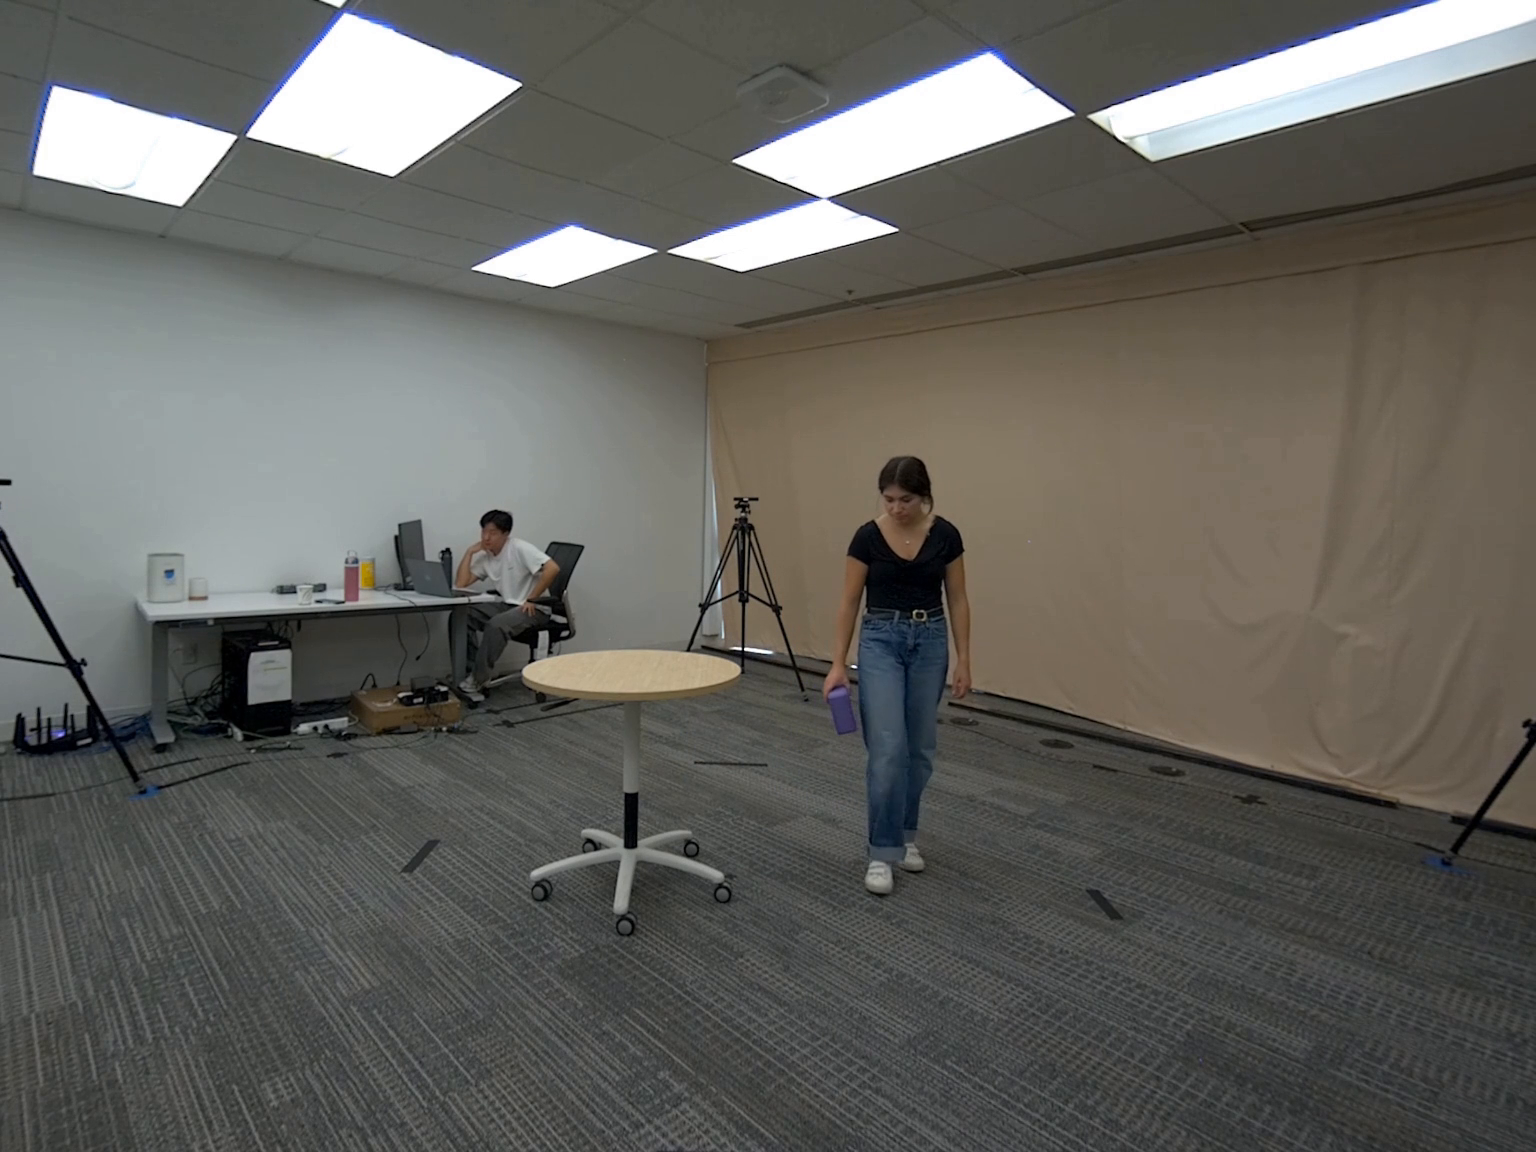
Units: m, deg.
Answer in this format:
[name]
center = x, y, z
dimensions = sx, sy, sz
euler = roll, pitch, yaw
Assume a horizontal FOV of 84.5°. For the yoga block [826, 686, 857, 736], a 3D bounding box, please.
[yoga block]
center = 0.268, 0.491, 3.164
dimensions = 0.076, 0.148, 0.230
euler = -14, 8, 1
